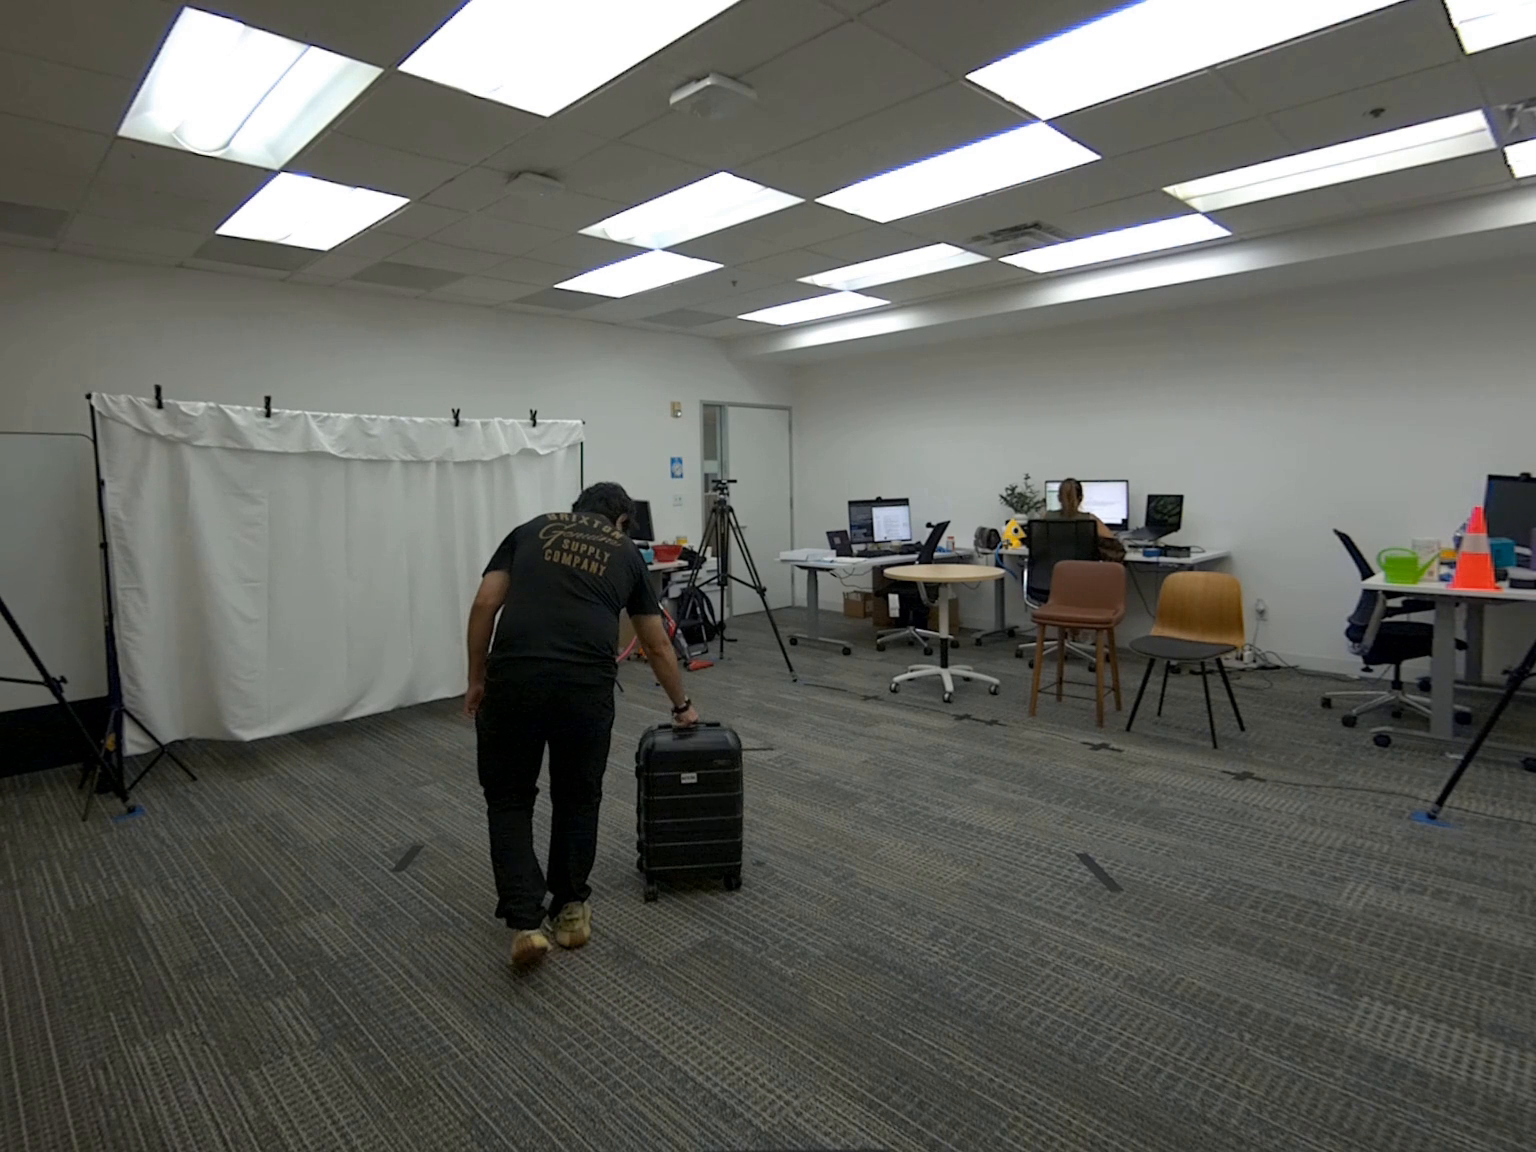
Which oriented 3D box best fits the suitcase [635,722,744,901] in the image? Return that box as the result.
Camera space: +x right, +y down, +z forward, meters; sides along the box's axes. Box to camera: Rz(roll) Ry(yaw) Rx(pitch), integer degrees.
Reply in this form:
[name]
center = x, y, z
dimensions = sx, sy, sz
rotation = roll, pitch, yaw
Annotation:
[suitcase]
center = -0.265, 0.790, 2.978
dimensions = 0.372, 0.547, 0.251
rotation = -1, 5, -8
